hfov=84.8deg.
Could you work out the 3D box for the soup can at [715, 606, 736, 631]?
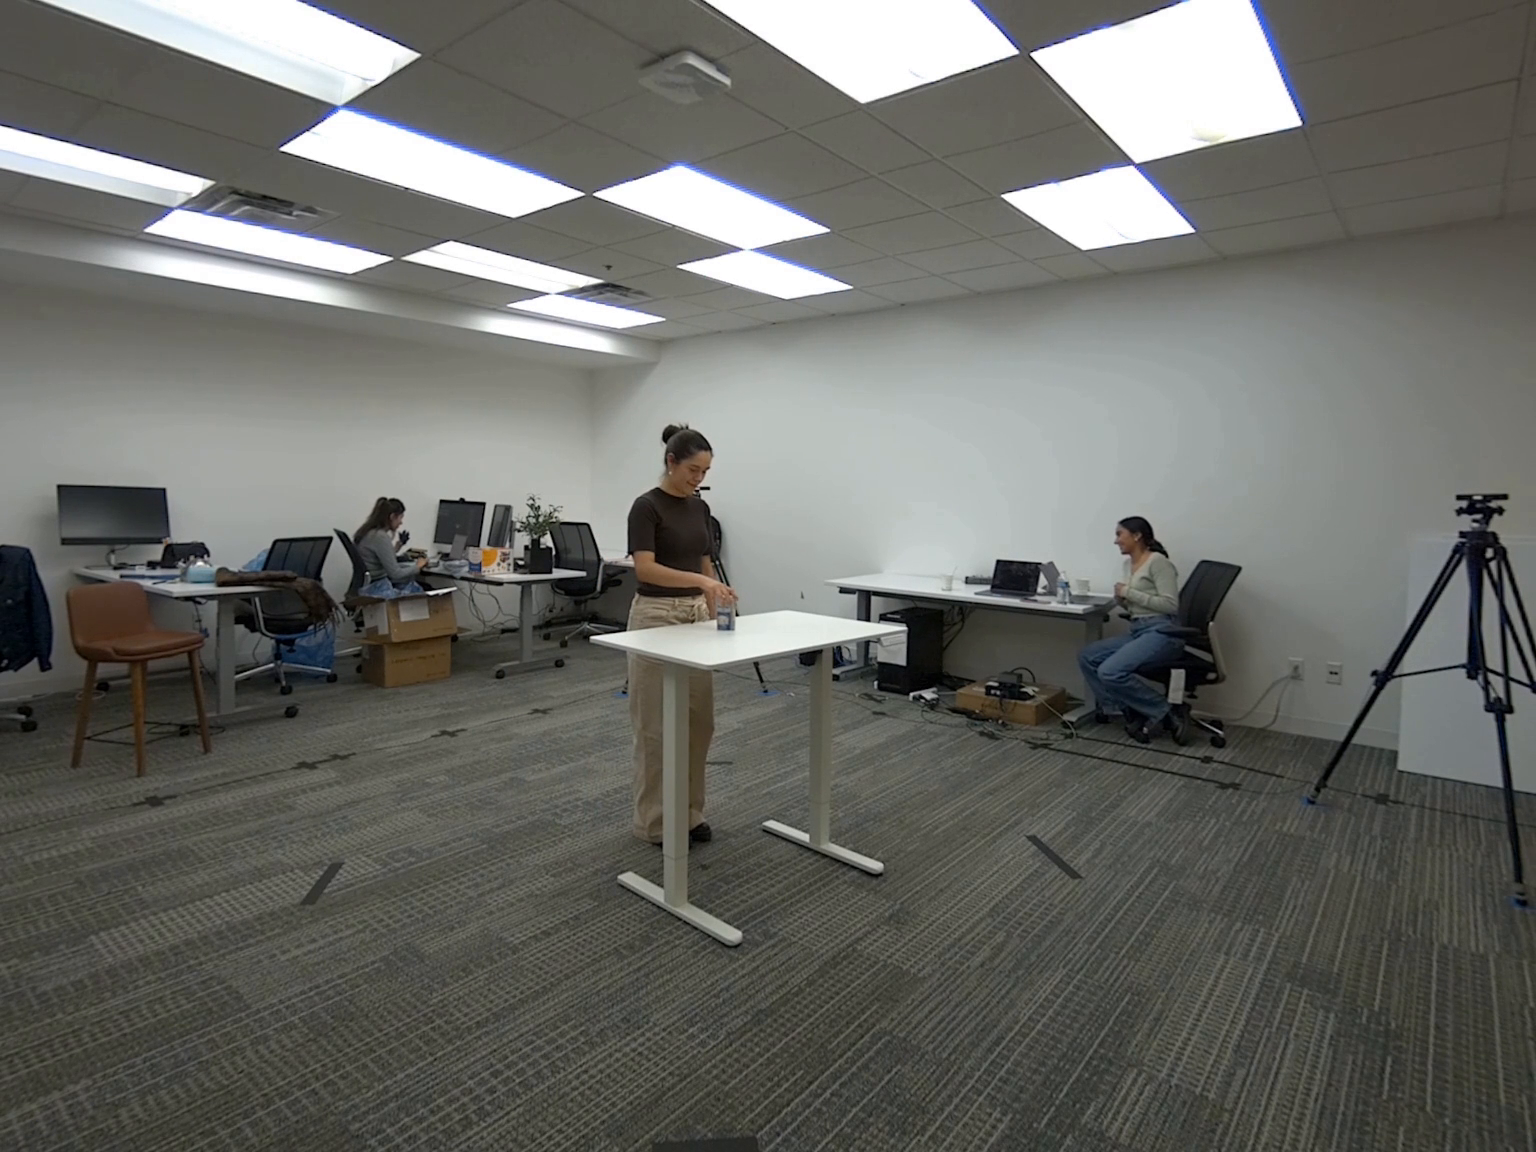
[{"bbox_3d":[-0.163,0.130,3.046,0.067,0.121,0.067,1,2,-2],"label":"soup can"}]
